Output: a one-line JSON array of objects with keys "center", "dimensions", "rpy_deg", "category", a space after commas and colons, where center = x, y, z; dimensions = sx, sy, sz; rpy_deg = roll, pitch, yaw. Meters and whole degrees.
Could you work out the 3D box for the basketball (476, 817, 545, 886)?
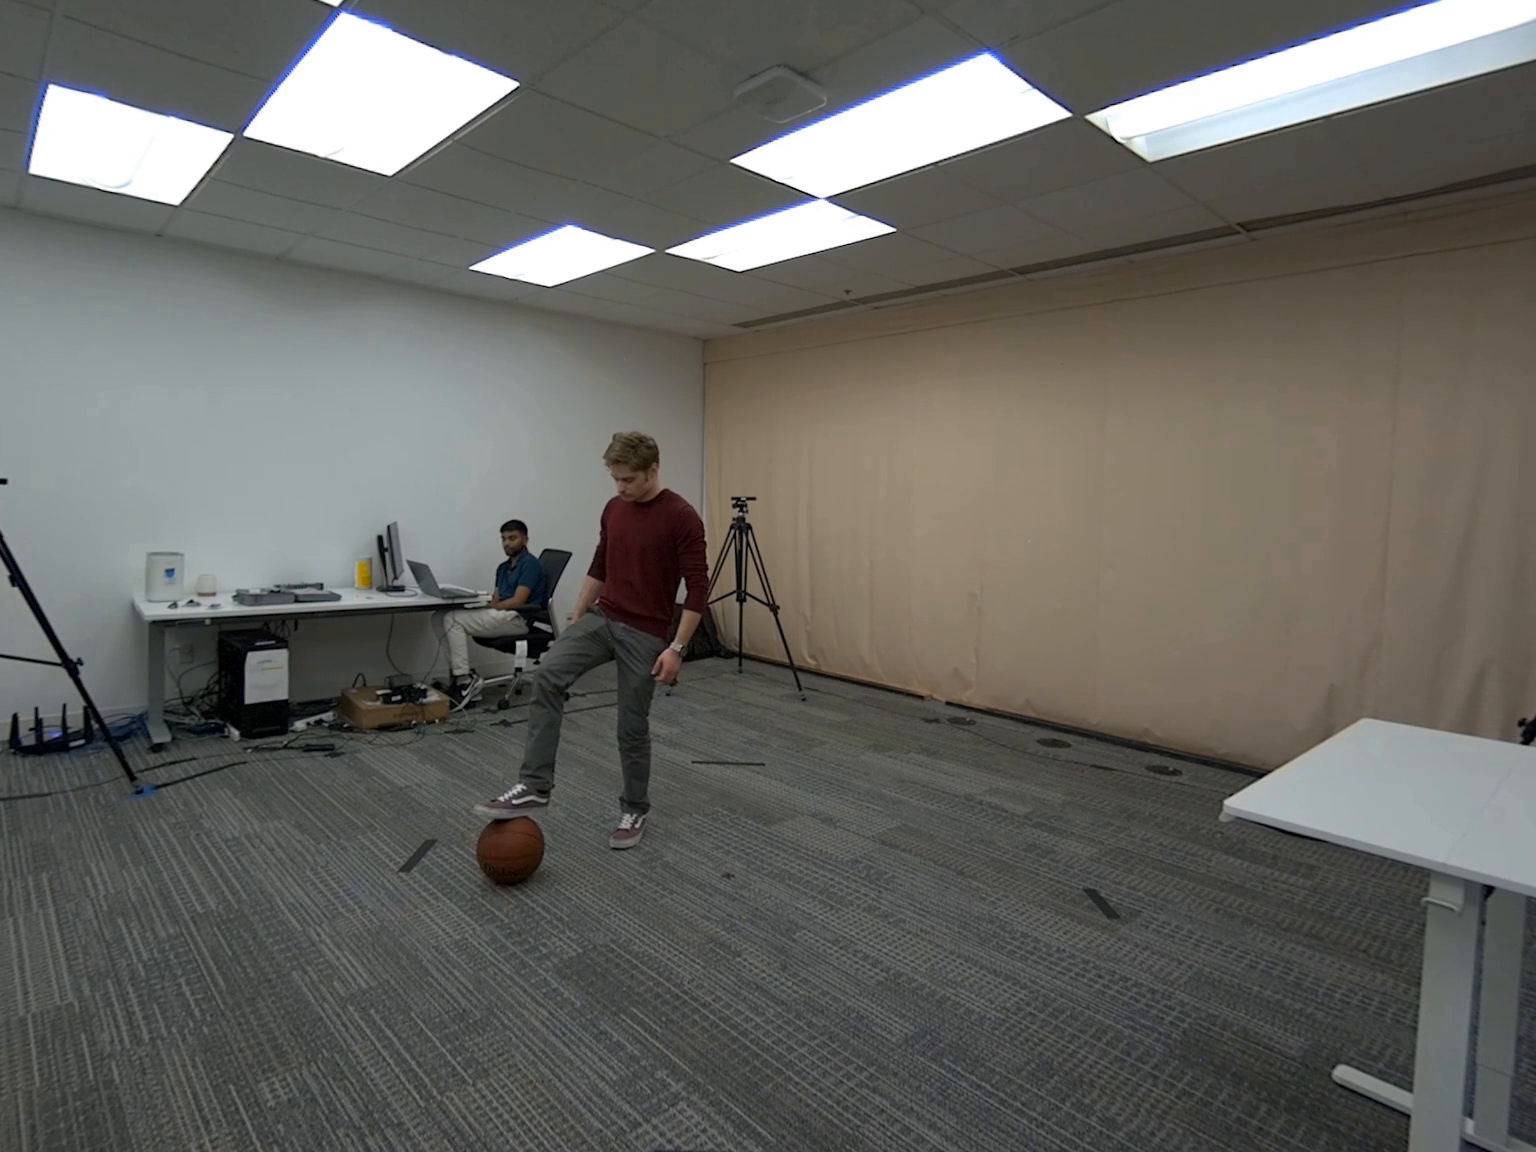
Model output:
[{"center": [-0.929, 0.979, 3.018], "dimensions": [0.236, 0.235, 0.237], "rpy_deg": [1, 4, -1], "category": "basketball"}]
